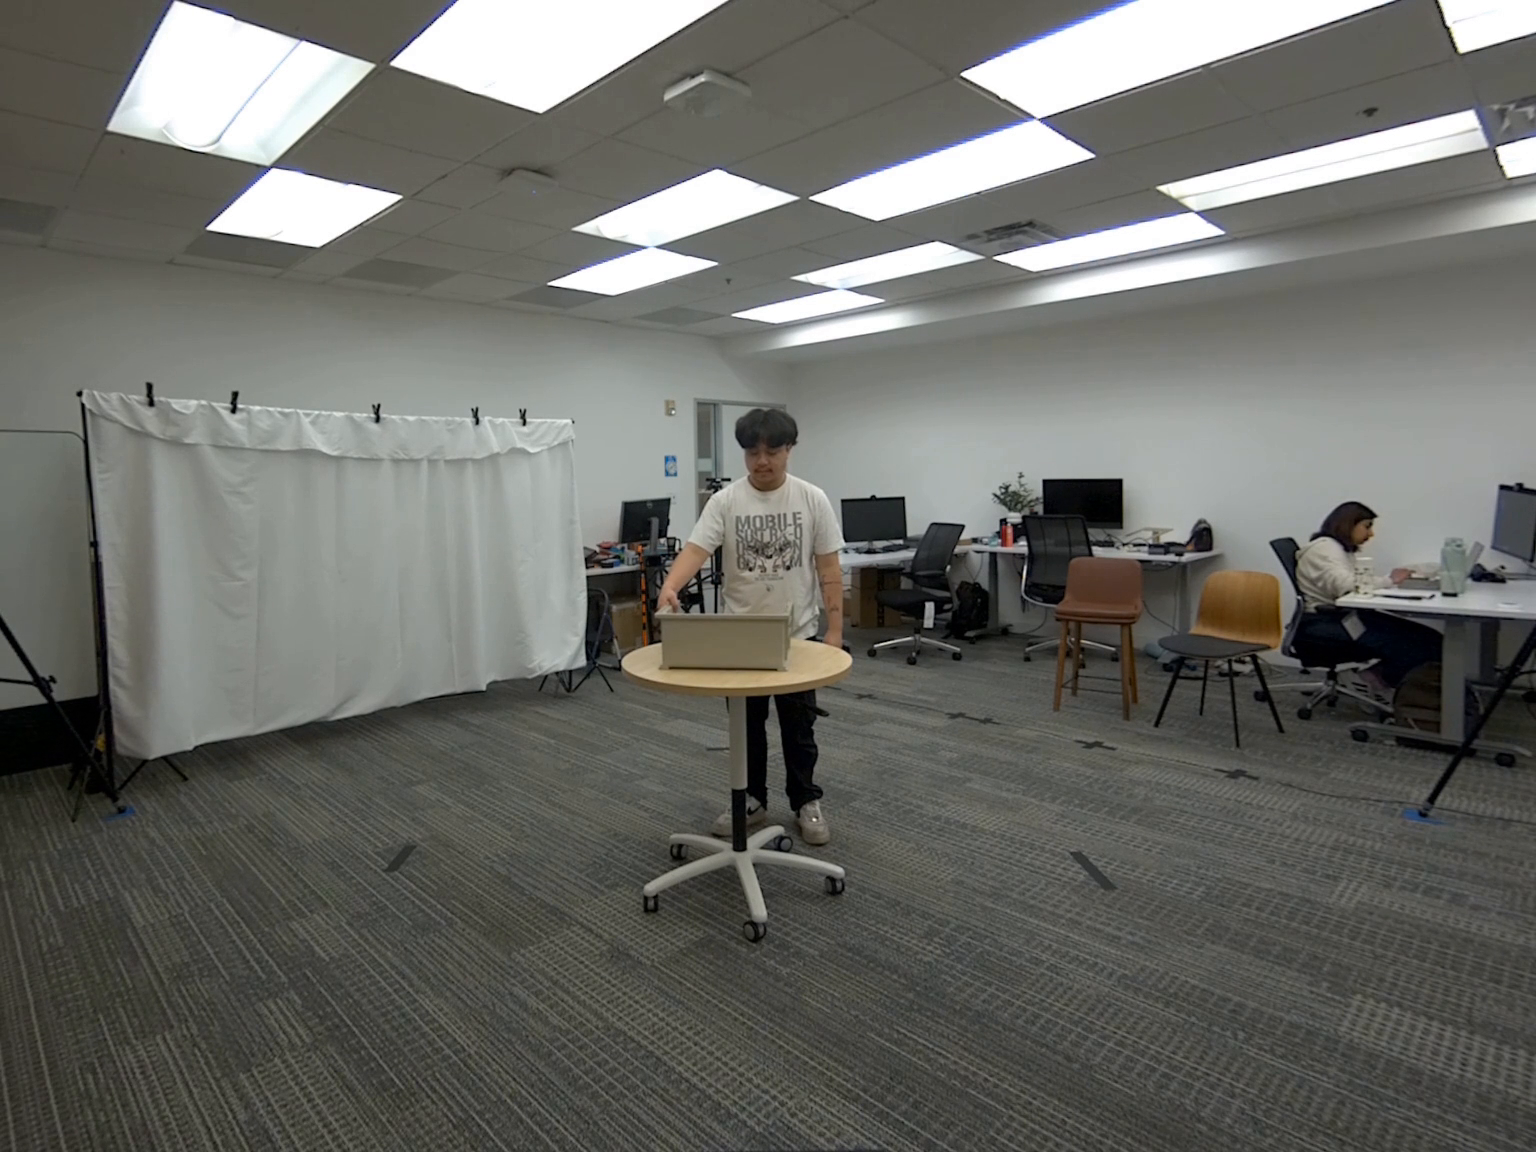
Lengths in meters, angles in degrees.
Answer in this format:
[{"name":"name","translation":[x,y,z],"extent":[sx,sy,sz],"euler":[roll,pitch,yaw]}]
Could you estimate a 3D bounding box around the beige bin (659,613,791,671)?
[{"name":"beige bin","translation":[-0.128,0.187,2.849],"extent":[0.425,0.188,0.377],"euler":[1,8,6]}]
